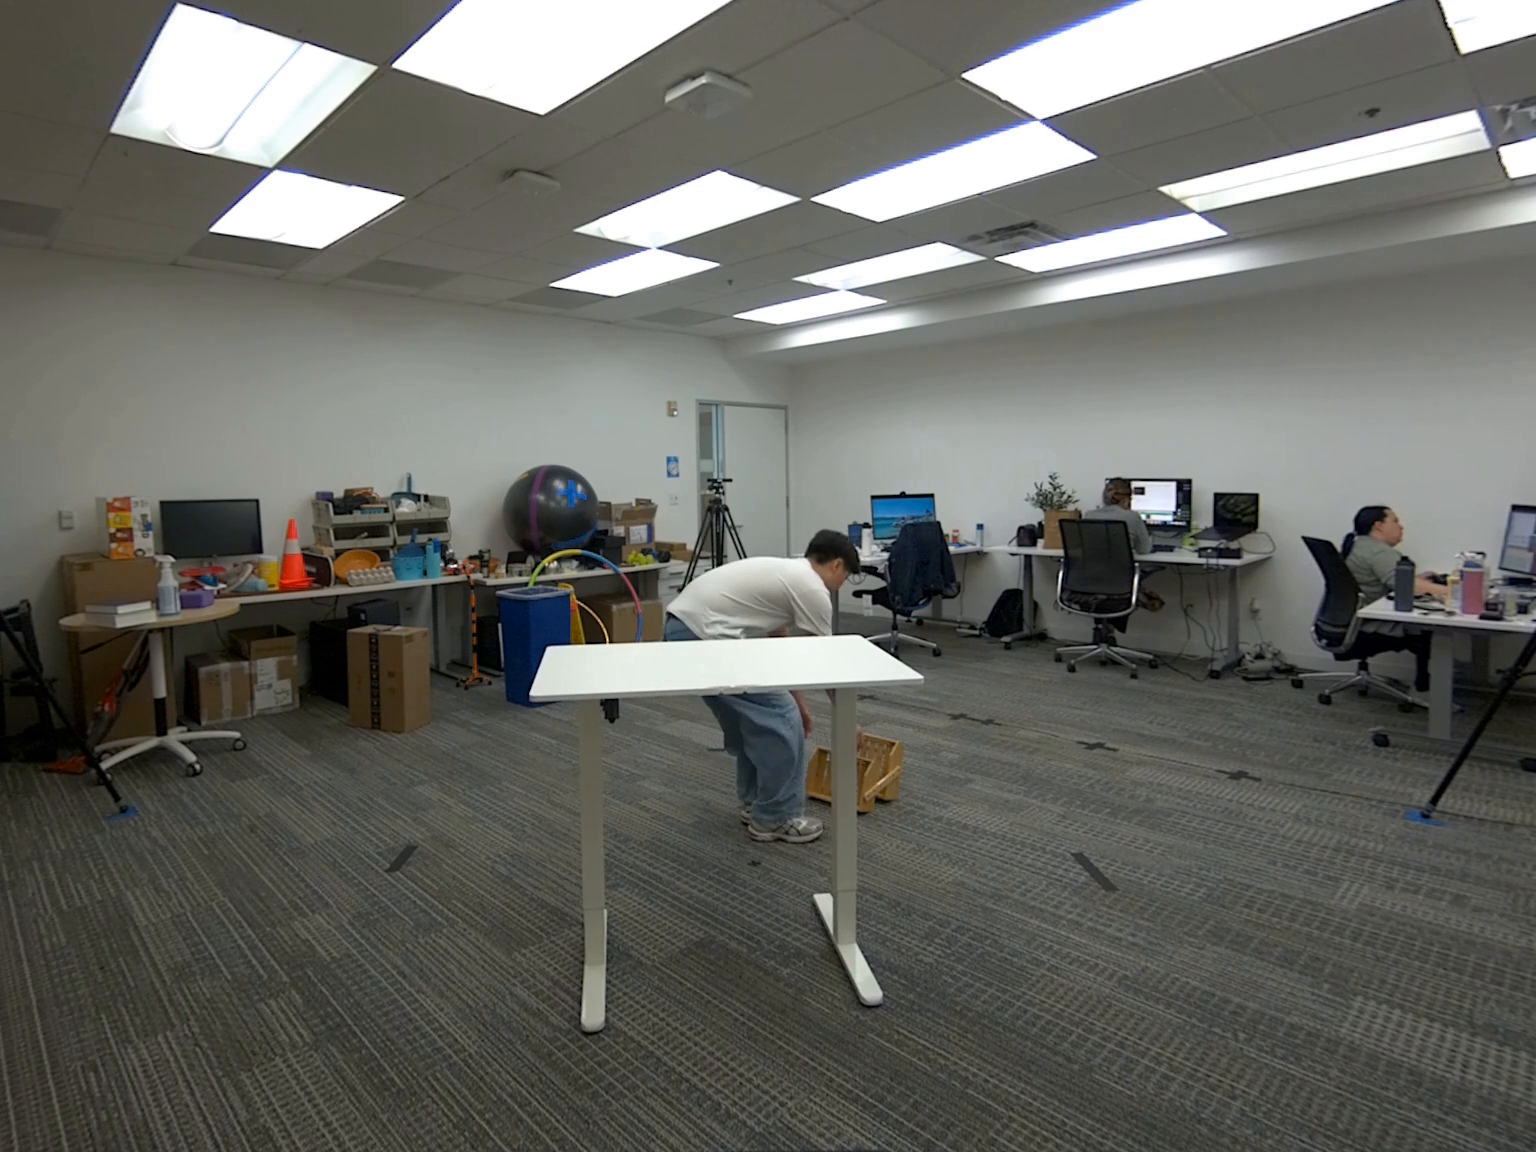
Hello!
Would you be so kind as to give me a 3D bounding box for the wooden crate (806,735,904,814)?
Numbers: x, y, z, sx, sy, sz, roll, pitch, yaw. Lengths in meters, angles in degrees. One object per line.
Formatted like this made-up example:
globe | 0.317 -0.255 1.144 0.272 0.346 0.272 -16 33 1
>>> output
wooden crate | 0.377 0.834 3.726 0.334 0.304 0.263 3 -10 42
